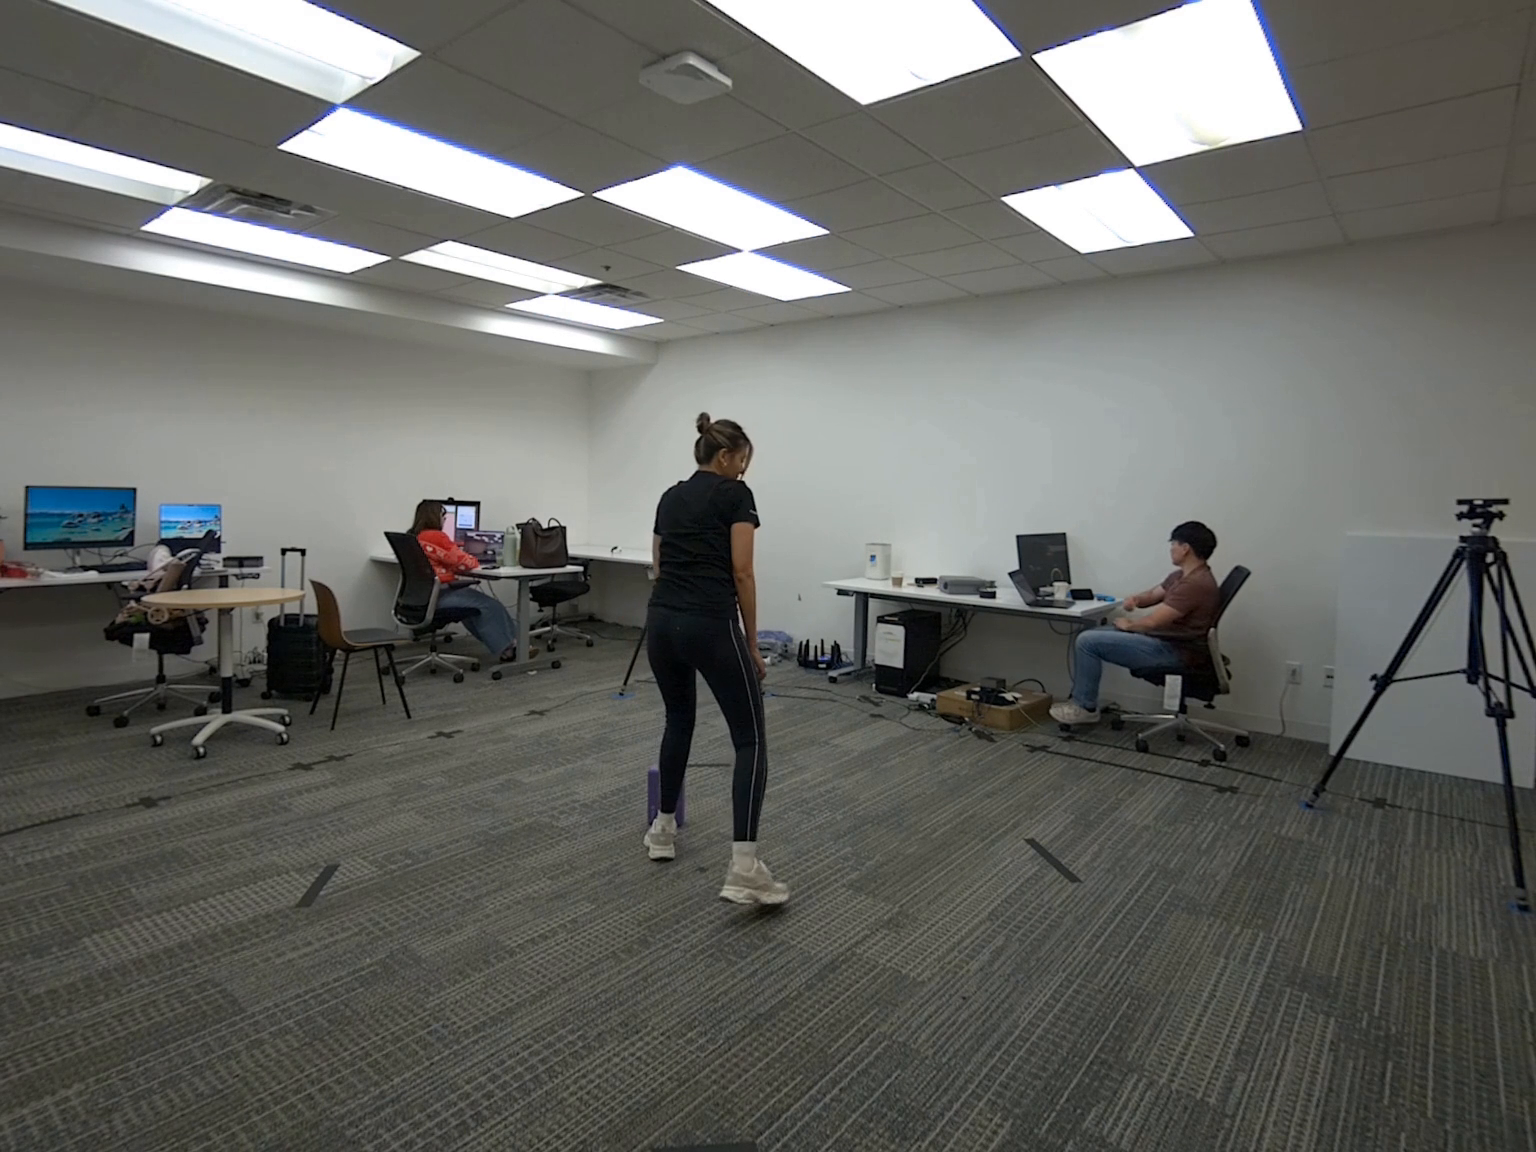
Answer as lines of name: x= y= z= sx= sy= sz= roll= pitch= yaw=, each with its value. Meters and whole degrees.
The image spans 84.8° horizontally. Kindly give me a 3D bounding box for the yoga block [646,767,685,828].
yoga block: x=-0.435 y=0.909 z=3.525 sx=0.149 sy=0.228 sz=0.076 roll=0 pitch=3 yaw=3
